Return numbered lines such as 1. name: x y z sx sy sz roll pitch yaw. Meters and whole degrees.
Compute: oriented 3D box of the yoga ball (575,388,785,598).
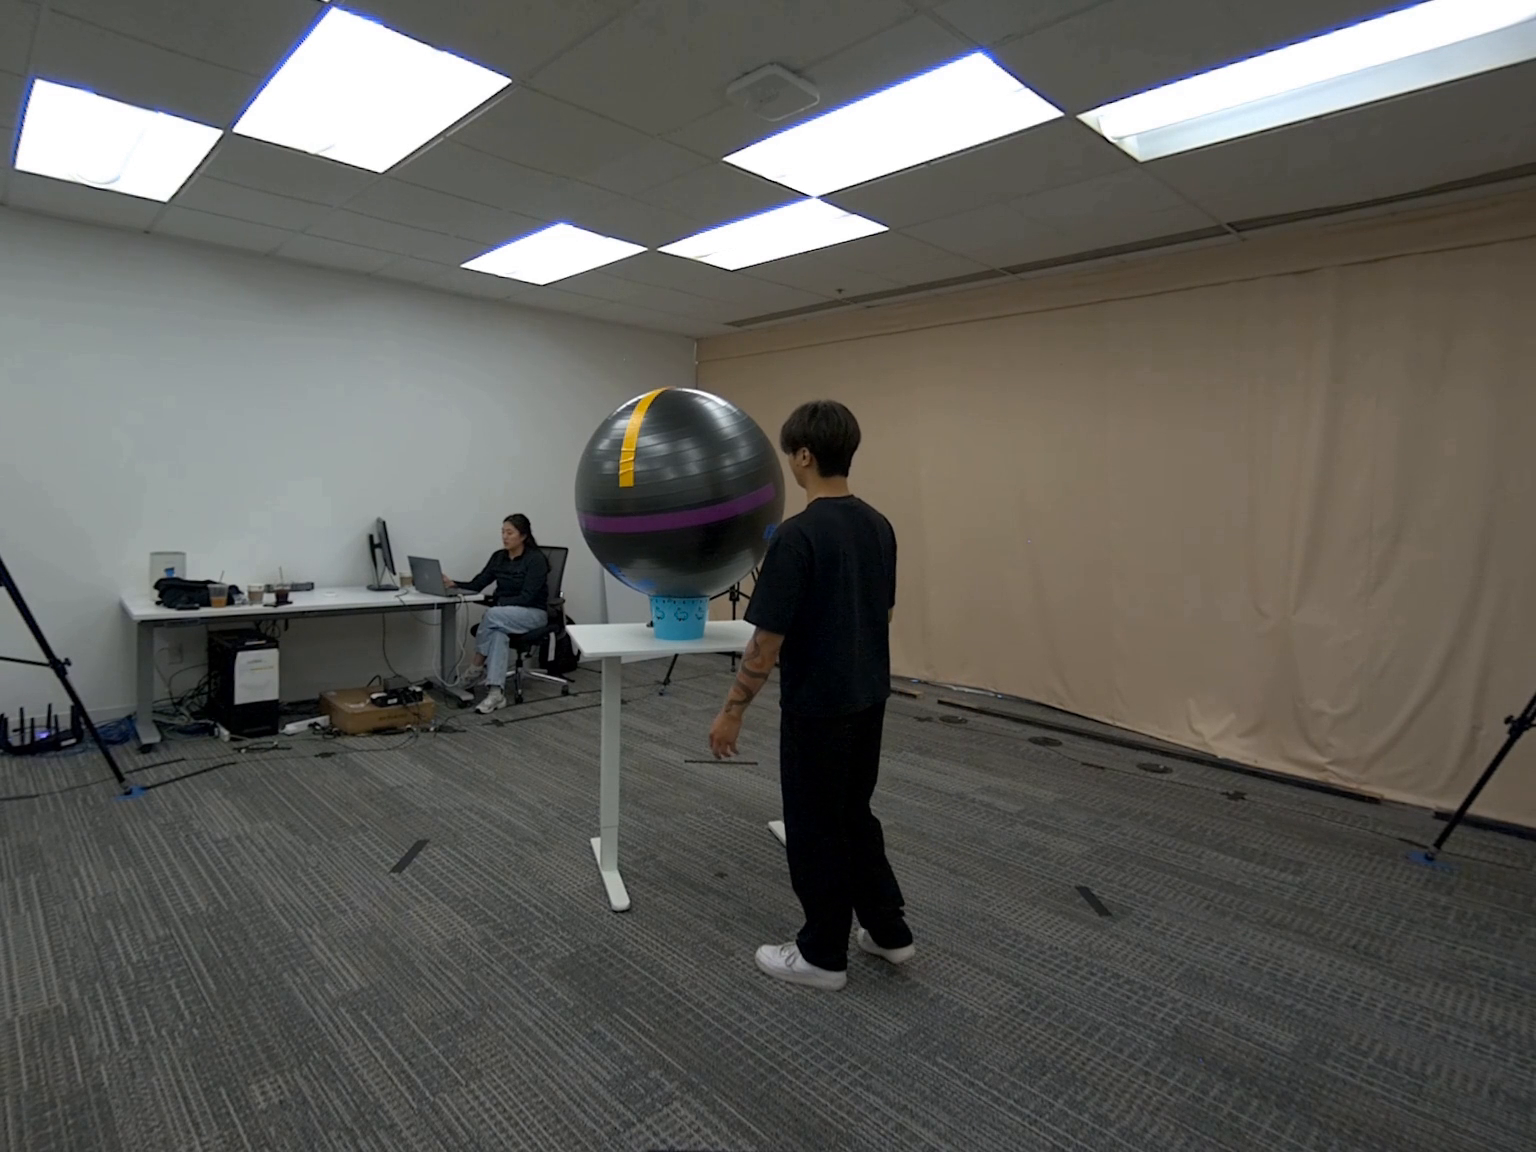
1. yoga ball: -0.320 -0.293 3.048 0.757 0.756 0.761 1 4 -1
